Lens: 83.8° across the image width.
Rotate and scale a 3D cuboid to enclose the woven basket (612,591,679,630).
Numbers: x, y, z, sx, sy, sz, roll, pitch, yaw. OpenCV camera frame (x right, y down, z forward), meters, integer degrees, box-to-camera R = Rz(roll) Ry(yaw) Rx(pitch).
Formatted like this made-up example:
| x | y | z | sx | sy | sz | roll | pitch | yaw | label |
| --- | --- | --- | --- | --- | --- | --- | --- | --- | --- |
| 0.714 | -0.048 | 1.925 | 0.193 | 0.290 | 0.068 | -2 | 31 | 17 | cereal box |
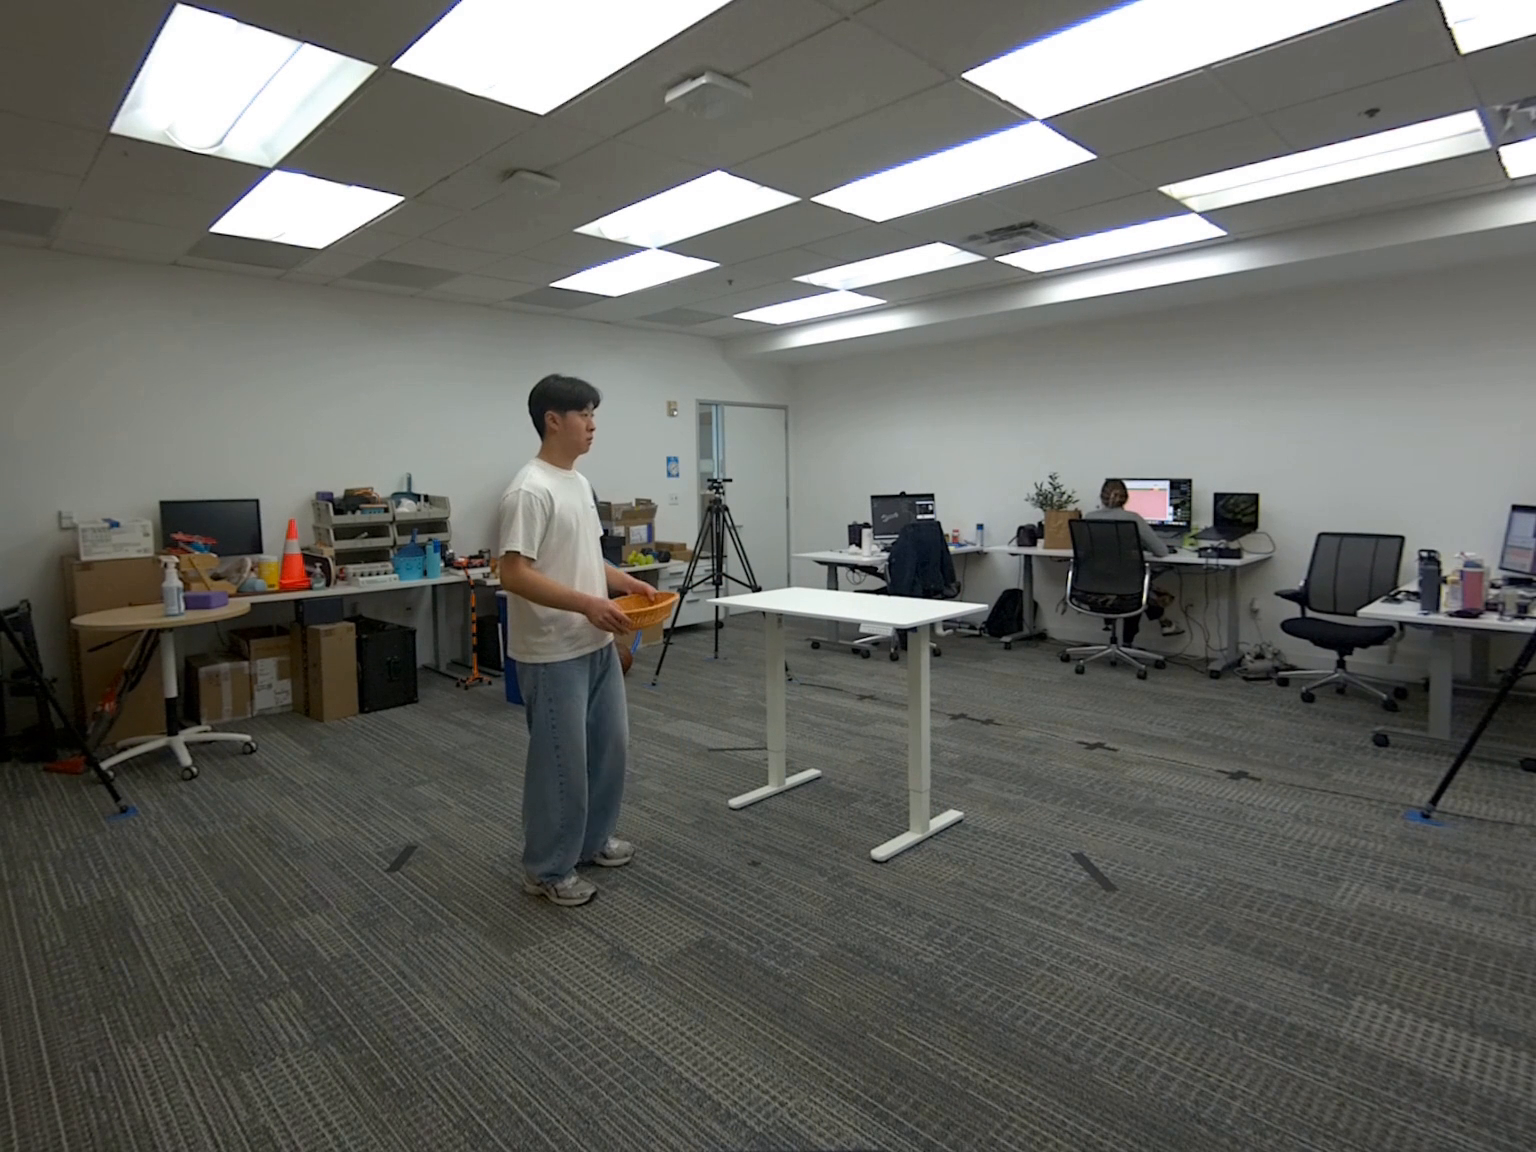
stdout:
| x | y | z | sx | sy | sz | roll | pitch | yaw | label |
| --- | --- | --- | --- | --- | --- | --- | --- | --- | --- |
| -0.447 | 0.114 | 2.801 | 0.360 | 0.073 | 0.248 | -1 | 11 | 33 | woven basket |
